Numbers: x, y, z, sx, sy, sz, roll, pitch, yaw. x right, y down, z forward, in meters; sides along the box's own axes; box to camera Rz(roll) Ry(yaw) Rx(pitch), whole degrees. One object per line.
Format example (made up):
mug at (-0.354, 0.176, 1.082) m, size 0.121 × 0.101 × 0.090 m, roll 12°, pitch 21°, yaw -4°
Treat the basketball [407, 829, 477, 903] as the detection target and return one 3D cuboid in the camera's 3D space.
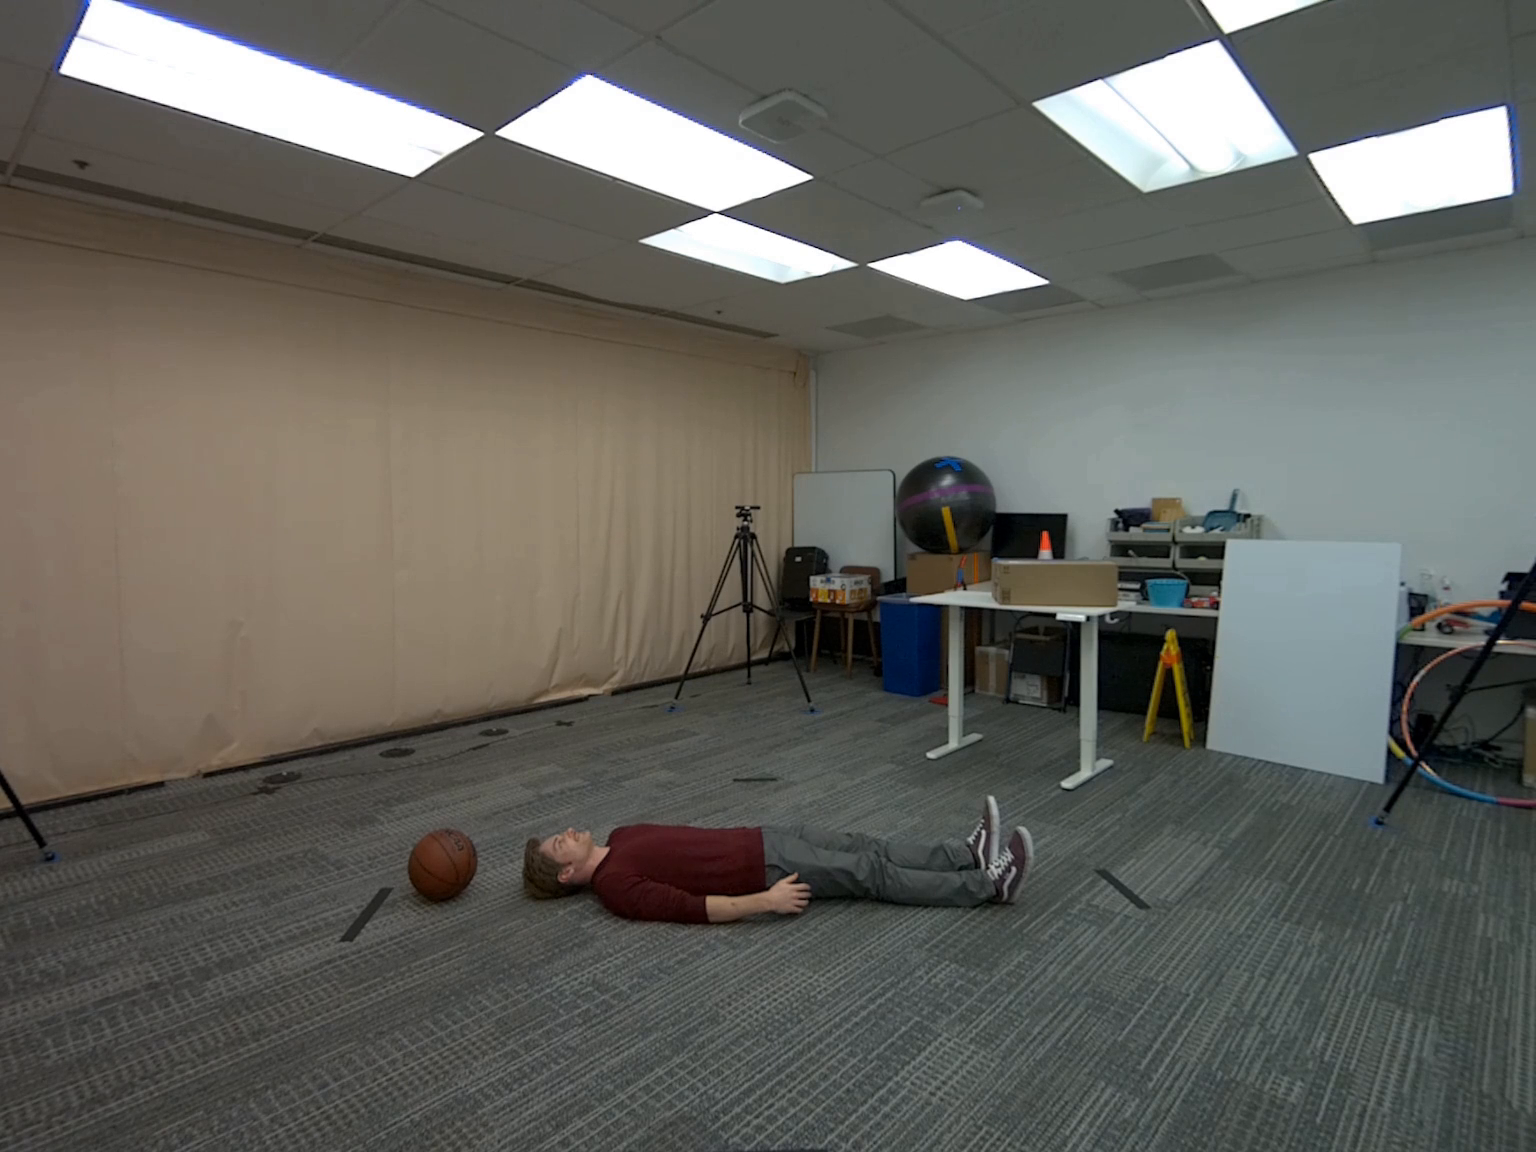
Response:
basketball at (-1.170, 1.035, 3.013) m, size 0.236 × 0.235 × 0.237 m, roll 0°, pitch 4°, yaw -2°
